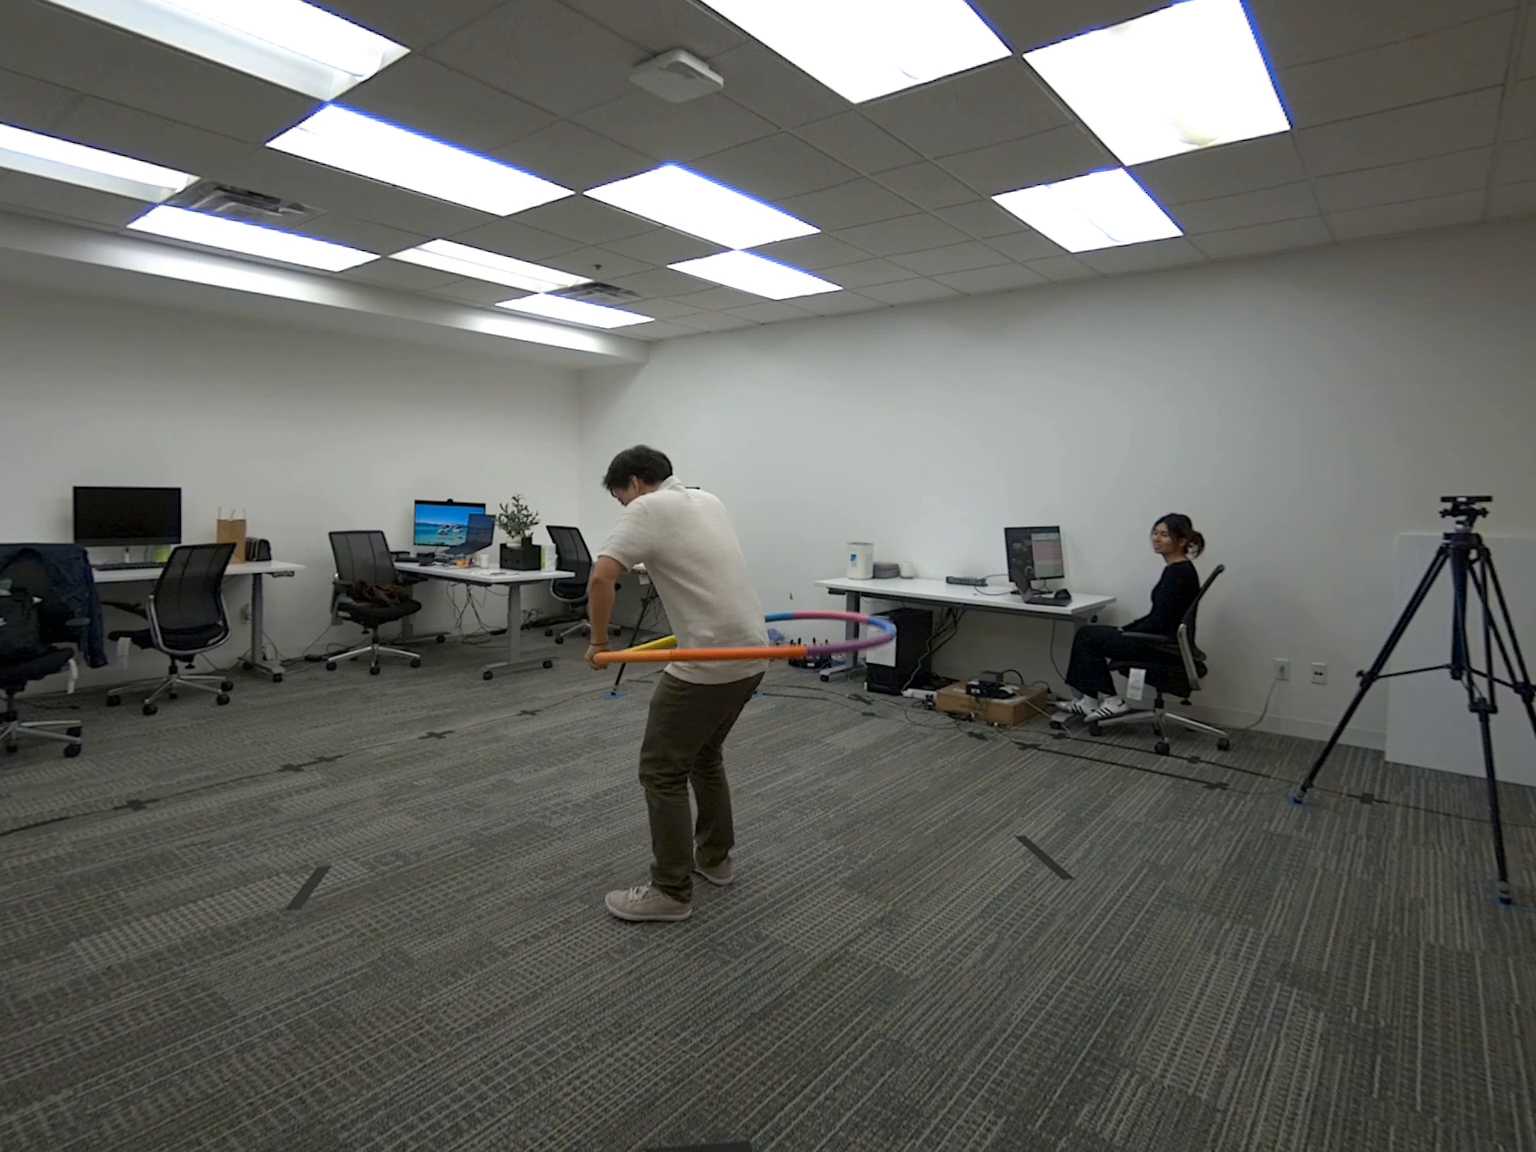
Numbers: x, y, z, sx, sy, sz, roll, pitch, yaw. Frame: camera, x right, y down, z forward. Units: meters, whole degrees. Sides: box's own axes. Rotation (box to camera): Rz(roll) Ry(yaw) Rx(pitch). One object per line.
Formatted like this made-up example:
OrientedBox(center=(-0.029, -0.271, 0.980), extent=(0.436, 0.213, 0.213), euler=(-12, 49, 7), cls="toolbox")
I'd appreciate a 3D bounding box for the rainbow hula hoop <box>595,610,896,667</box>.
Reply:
OrientedBox(center=(-0.130, 0.182, 2.801), extent=(0.978, 0.035, 0.979), euler=(-6, 1, -2), cls="rainbow hula hoop")
